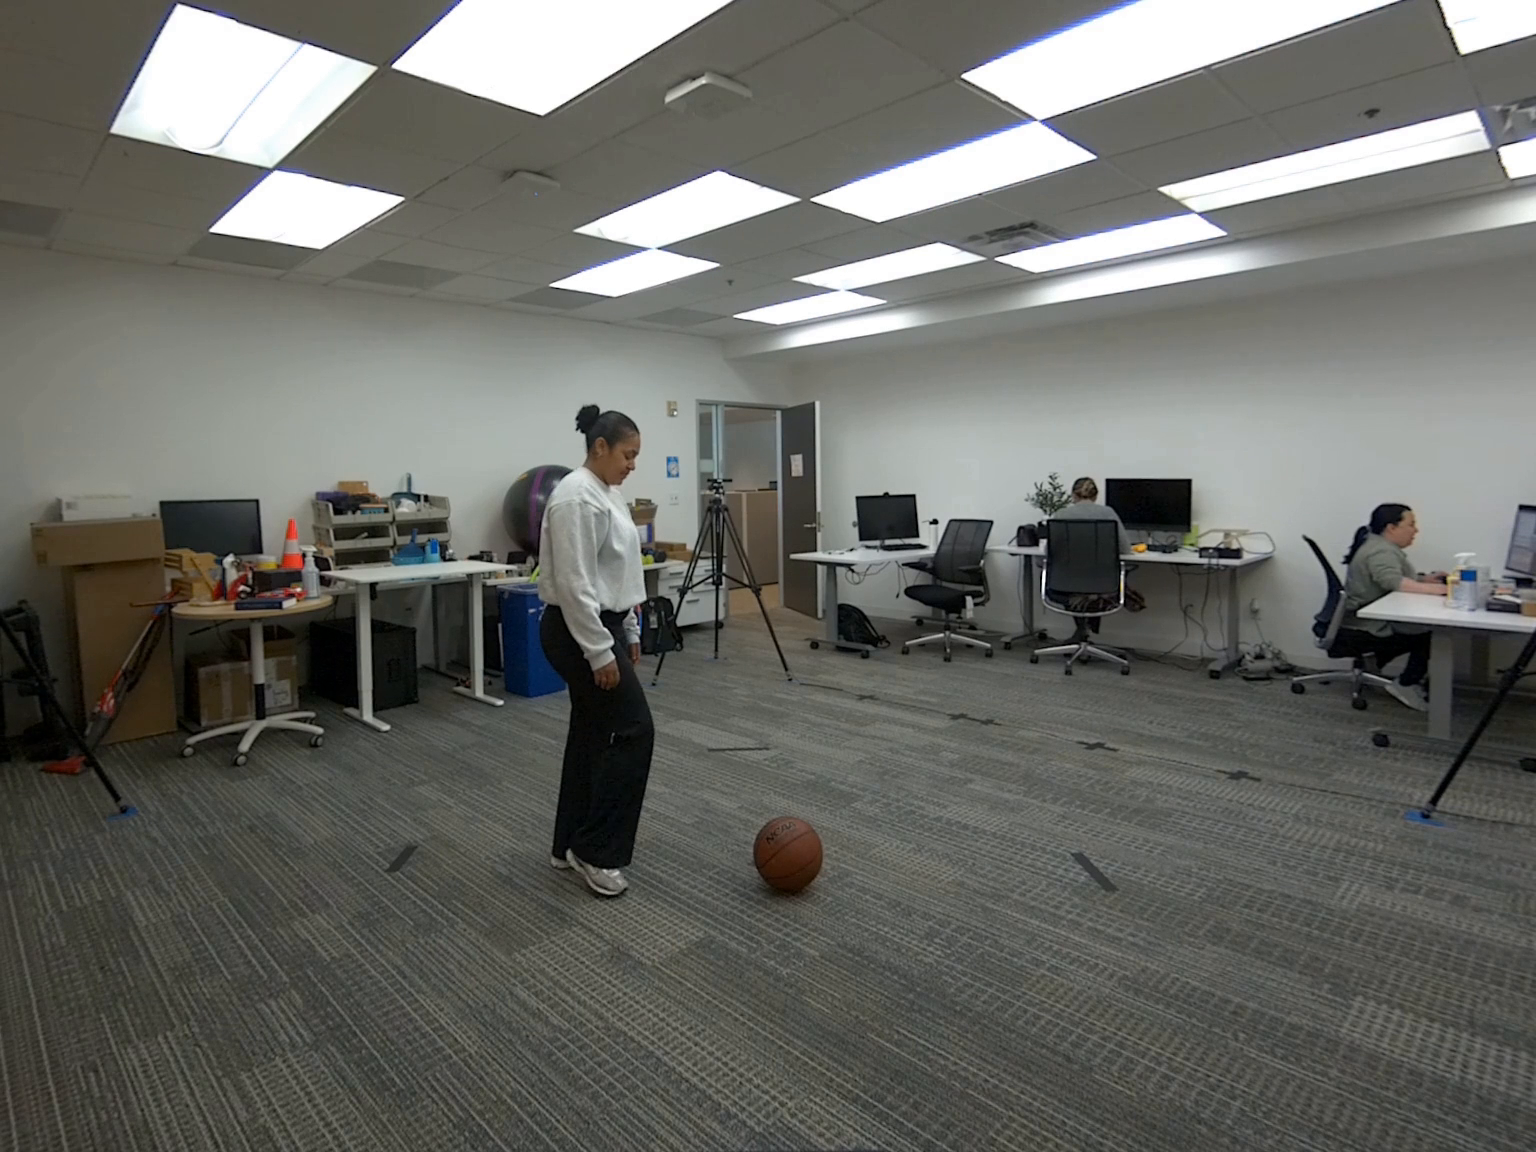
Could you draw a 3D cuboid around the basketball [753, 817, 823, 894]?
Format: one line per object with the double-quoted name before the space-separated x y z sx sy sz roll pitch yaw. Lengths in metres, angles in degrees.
"basketball" 0.069 0.939 2.910 0.236 0.235 0.237 -1 5 -2
